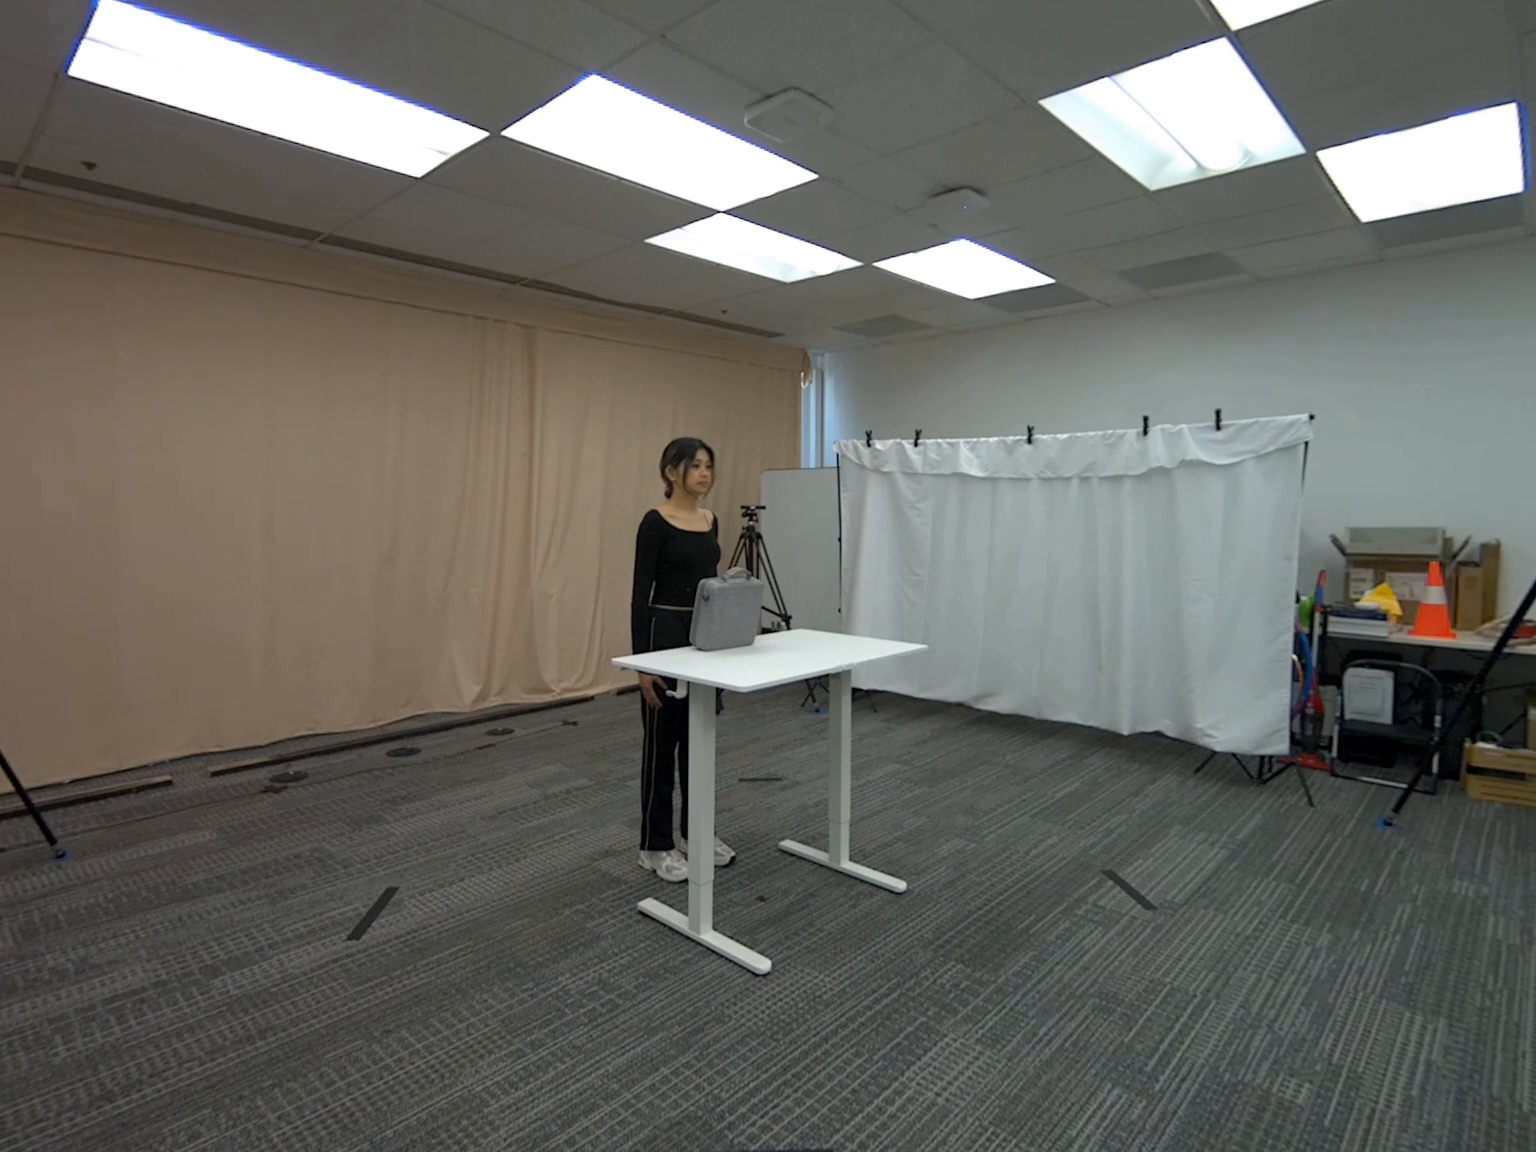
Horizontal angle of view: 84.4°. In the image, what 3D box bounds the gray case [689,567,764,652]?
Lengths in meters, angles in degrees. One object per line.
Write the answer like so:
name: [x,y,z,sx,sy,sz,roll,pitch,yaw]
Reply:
gray case: [-0.145,0.127,3.005,0.249,0.259,0.108,-2,17,-39]
